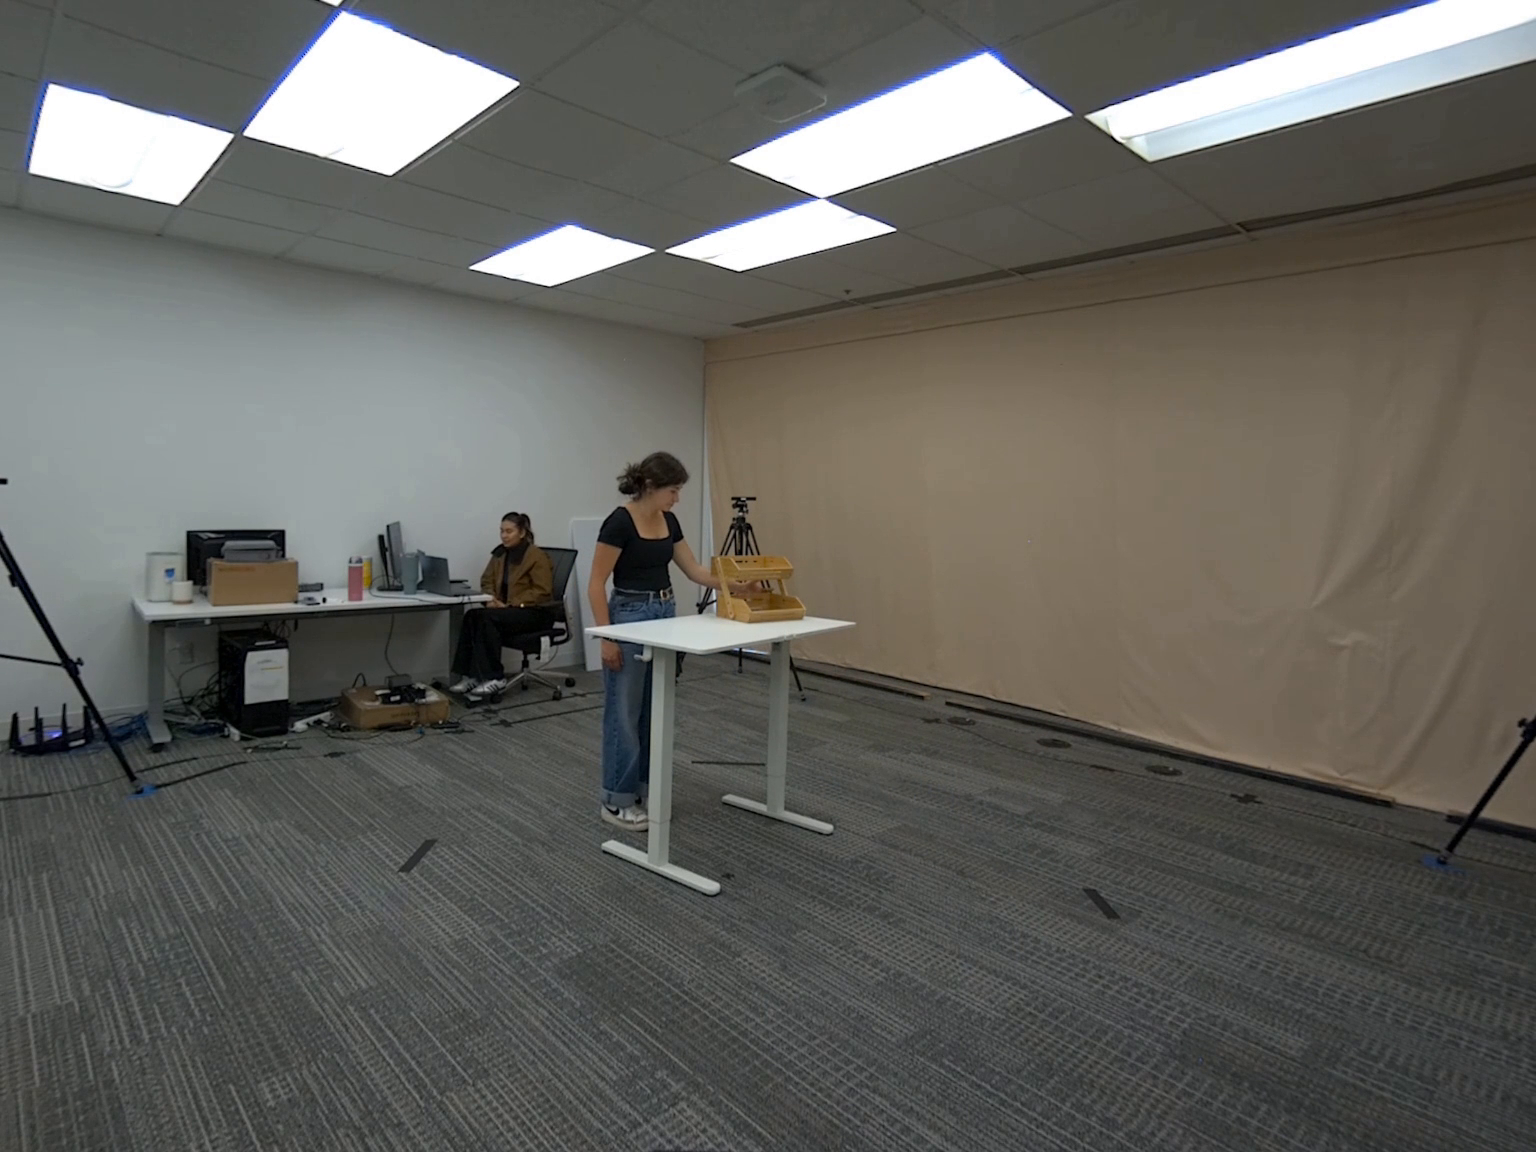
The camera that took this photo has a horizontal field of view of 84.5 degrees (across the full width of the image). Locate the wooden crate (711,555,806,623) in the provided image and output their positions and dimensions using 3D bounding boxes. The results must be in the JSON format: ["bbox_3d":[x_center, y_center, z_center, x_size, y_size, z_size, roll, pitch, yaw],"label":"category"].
[{"bbox_3d":[-0.054,0.046,3.661,0.317,0.273,0.309,-1,4,-37],"label":"wooden crate"}]
